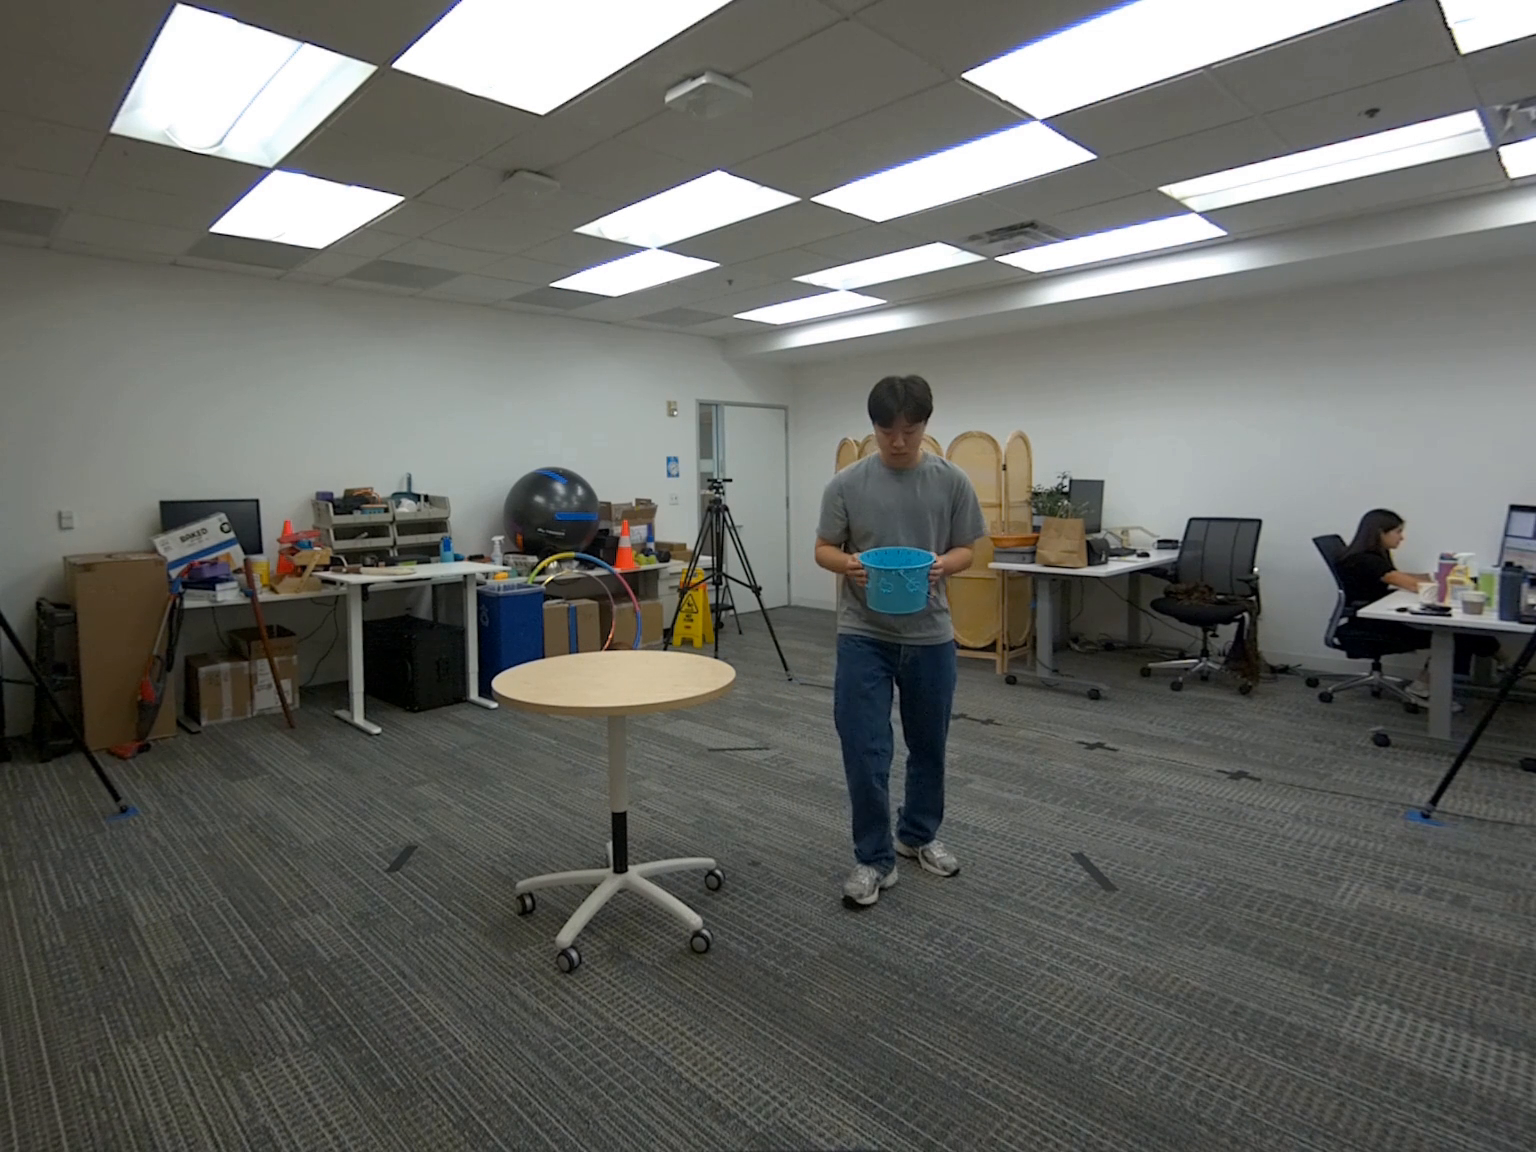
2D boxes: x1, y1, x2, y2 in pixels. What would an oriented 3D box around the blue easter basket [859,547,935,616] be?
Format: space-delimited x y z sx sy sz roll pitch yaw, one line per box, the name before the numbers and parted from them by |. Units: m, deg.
blue easter basket | 0.403 0.020 2.668 0.243 0.154 0.247 -2 15 -1
